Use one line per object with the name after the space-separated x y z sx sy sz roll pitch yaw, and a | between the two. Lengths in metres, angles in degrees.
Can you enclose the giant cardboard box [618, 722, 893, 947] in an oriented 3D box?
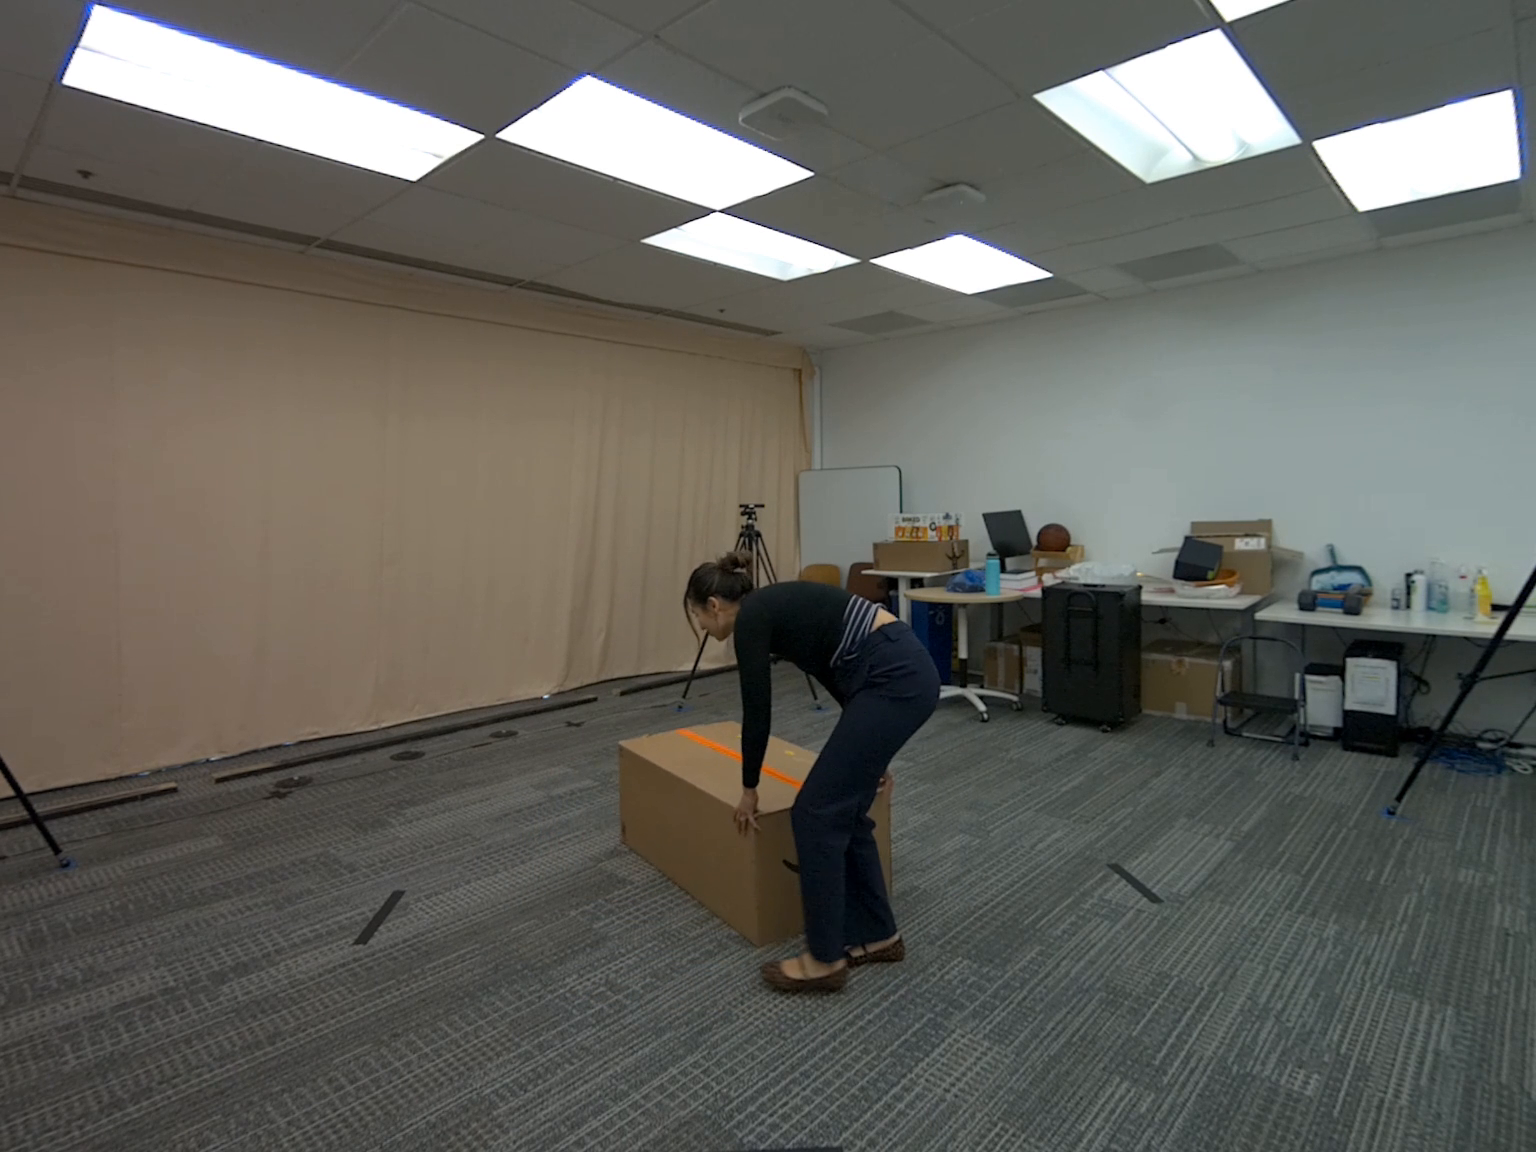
-0.097 0.907 3.214 0.561 0.425 1.057 -3 5 -33 | giant cardboard box
